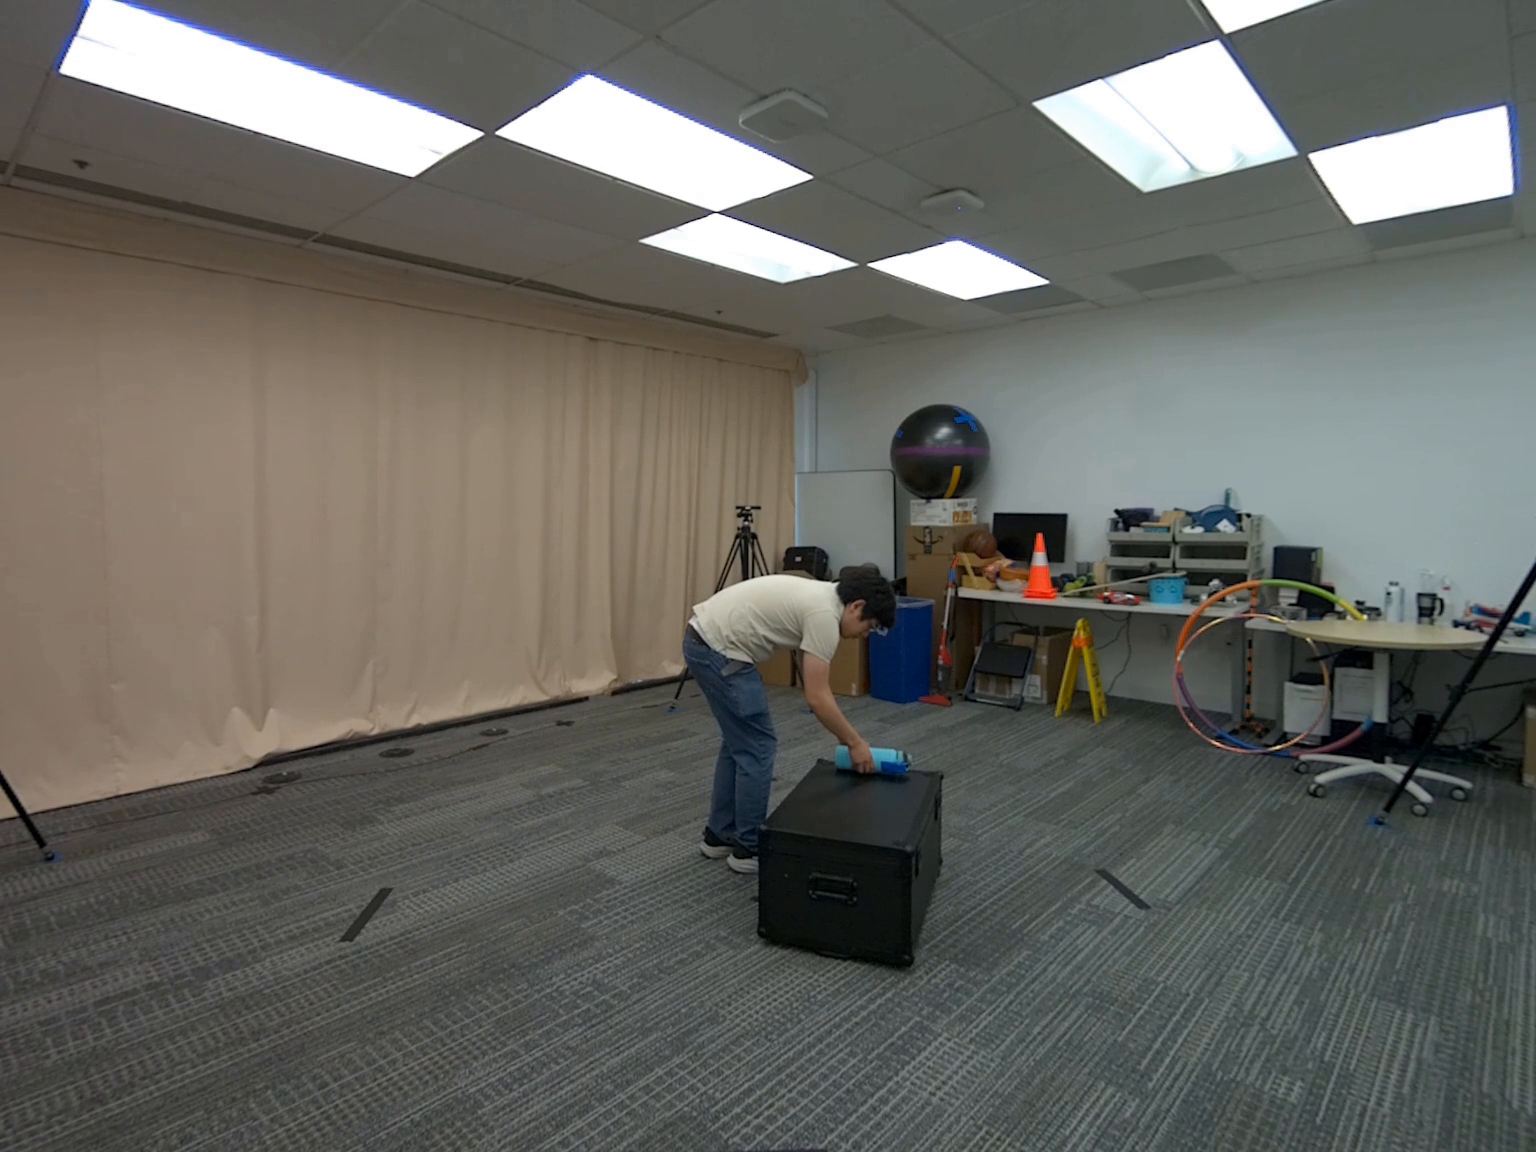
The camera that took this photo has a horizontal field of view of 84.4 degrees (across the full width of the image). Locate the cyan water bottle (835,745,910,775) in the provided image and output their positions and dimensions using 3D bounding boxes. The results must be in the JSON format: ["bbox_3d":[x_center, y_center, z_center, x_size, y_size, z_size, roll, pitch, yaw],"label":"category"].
[{"bbox_3d":[0.412,0.706,3.197,0.289,0.092,0.091,0,4,17],"label":"cyan water bottle"}]
